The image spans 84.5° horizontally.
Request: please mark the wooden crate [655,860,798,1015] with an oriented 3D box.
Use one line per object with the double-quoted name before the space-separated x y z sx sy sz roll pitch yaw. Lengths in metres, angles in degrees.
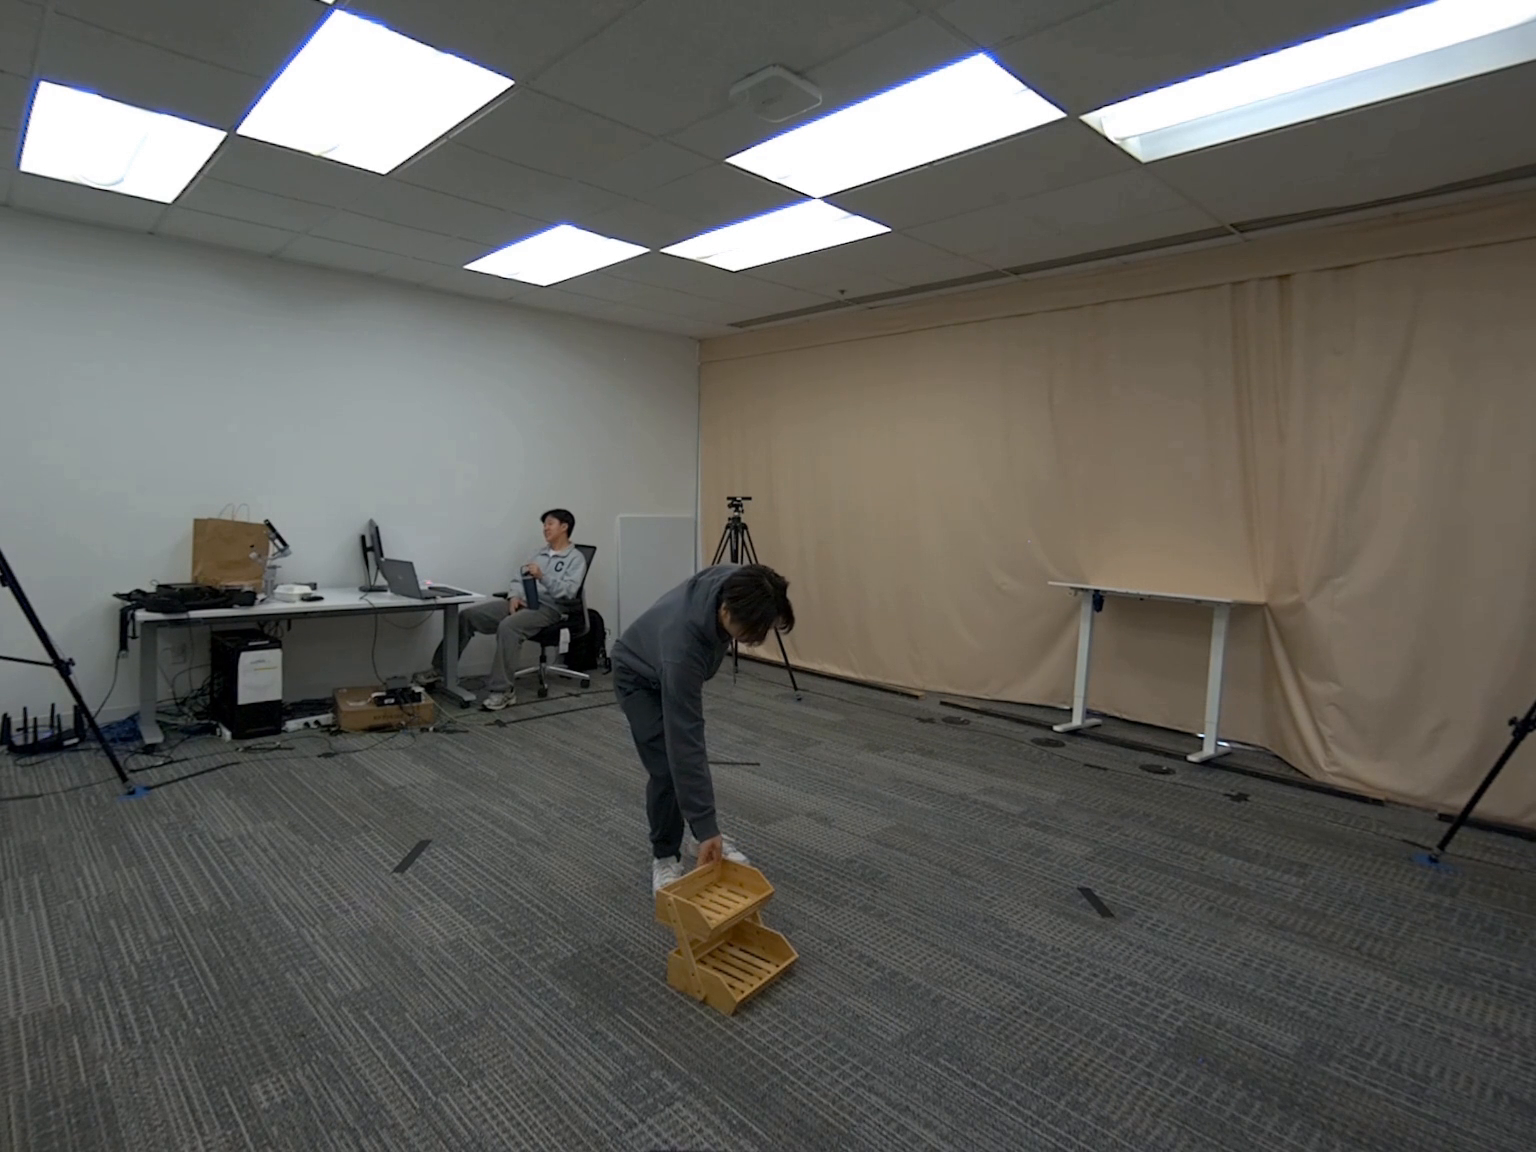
"wooden crate" -0.116 1.040 2.444 0.309 0.272 0.317 4 5 36
